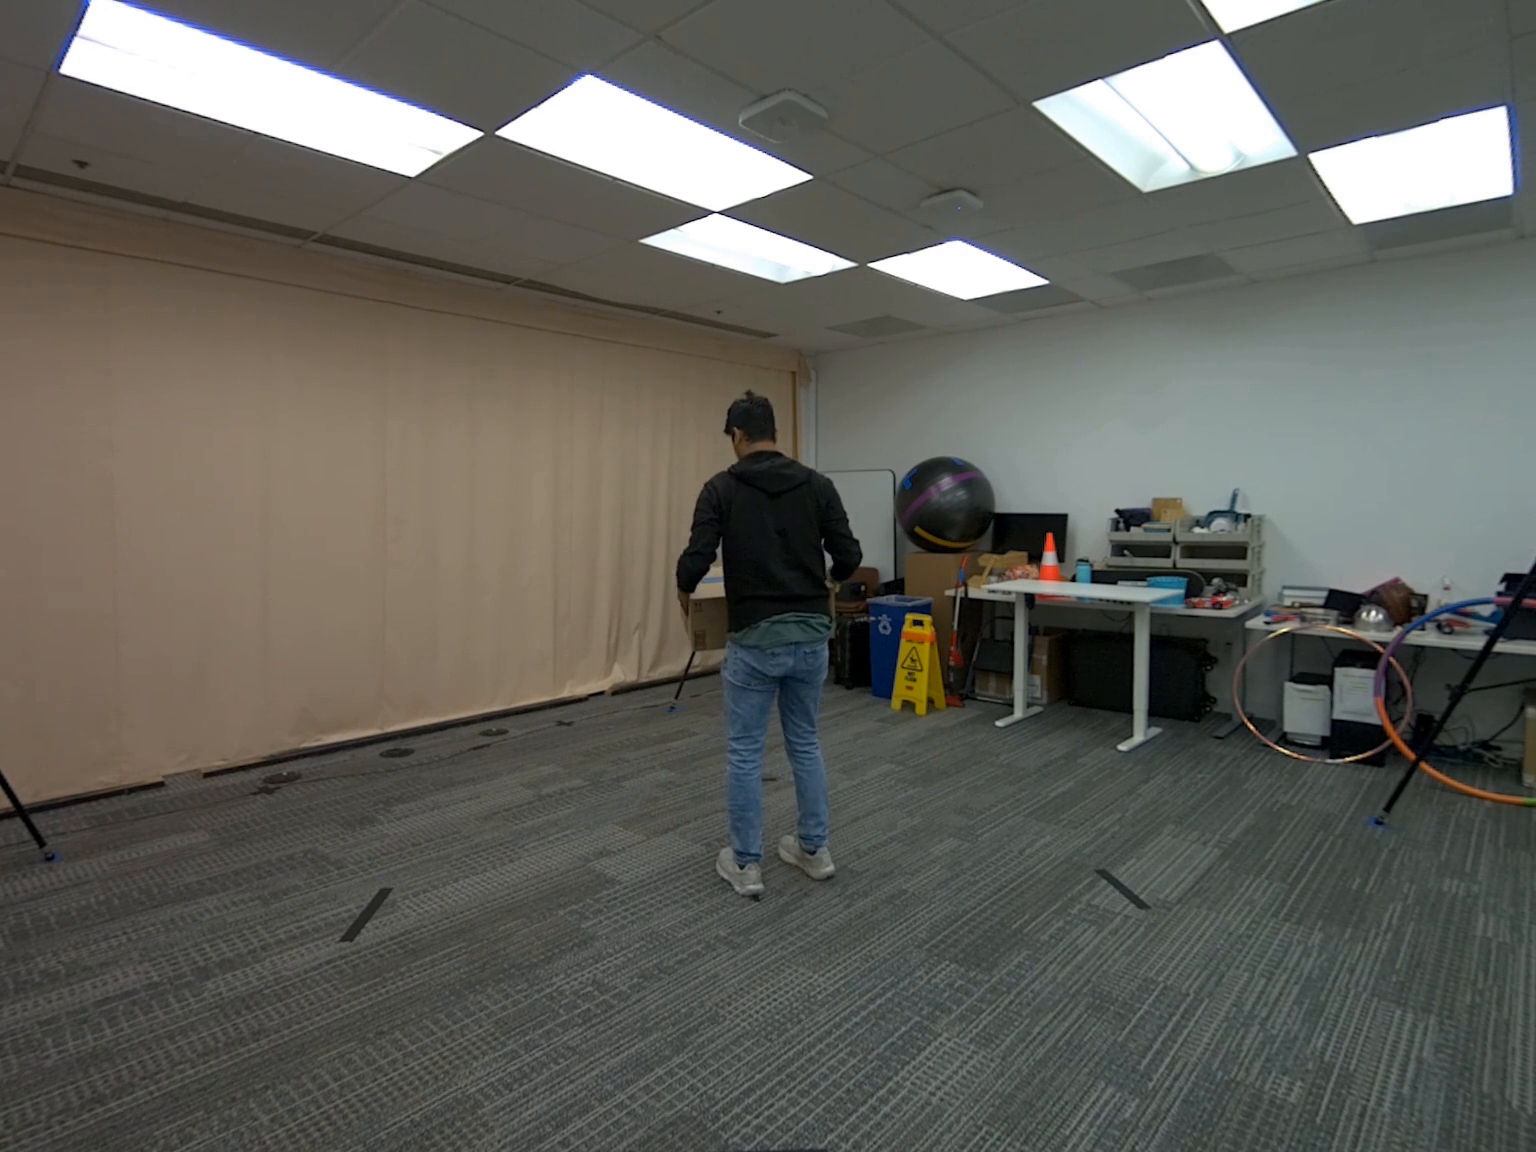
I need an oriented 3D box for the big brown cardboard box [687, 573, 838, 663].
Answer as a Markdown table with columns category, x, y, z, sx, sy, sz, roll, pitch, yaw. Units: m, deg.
| category | x | y | z | sx | sy | sz | roll | pitch | yaw |
| --- | --- | --- | --- | --- | --- | --- | --- | --- | --- |
| big brown cardboard box | -0.053 | 0.106 | 3.437 | 0.584 | 0.231 | 0.425 | -6 | 14 | -9 |
